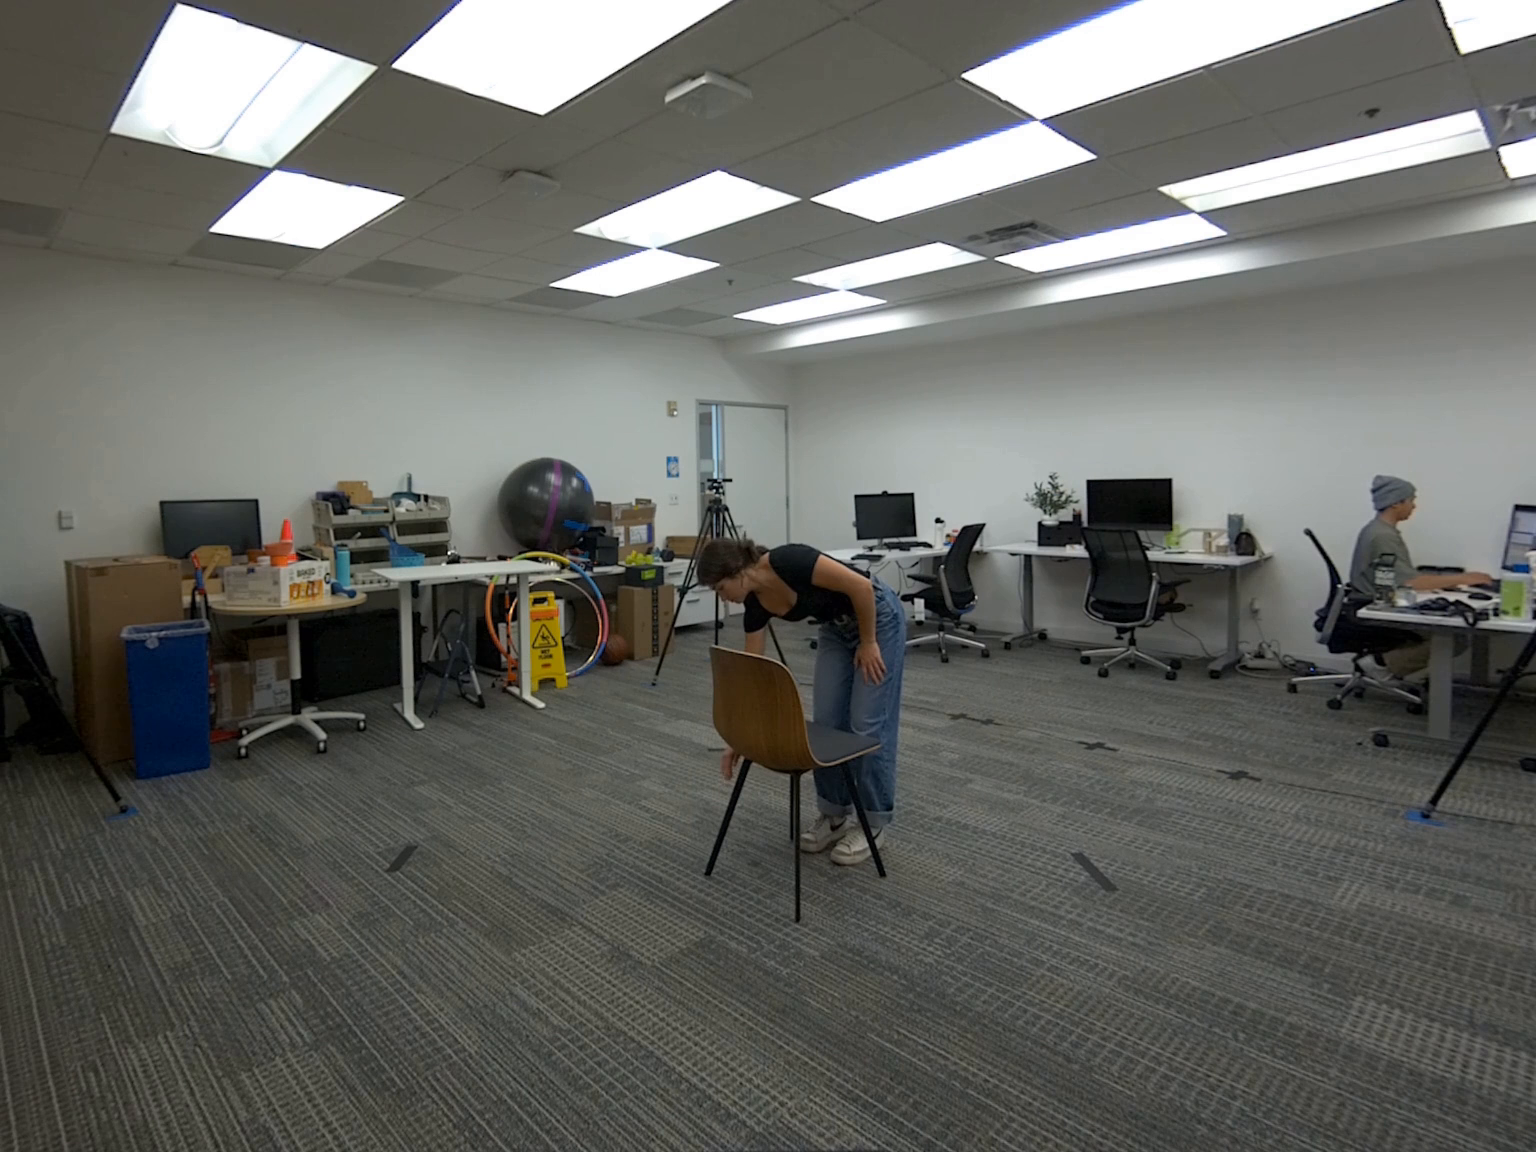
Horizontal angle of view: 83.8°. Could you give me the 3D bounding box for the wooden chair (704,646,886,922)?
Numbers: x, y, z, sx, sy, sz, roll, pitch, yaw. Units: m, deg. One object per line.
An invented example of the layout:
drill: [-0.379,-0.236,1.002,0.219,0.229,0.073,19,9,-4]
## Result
wooden chair: [0.093,0.631,2.969,0.511,0.872,0.493,-10,9,-43]
